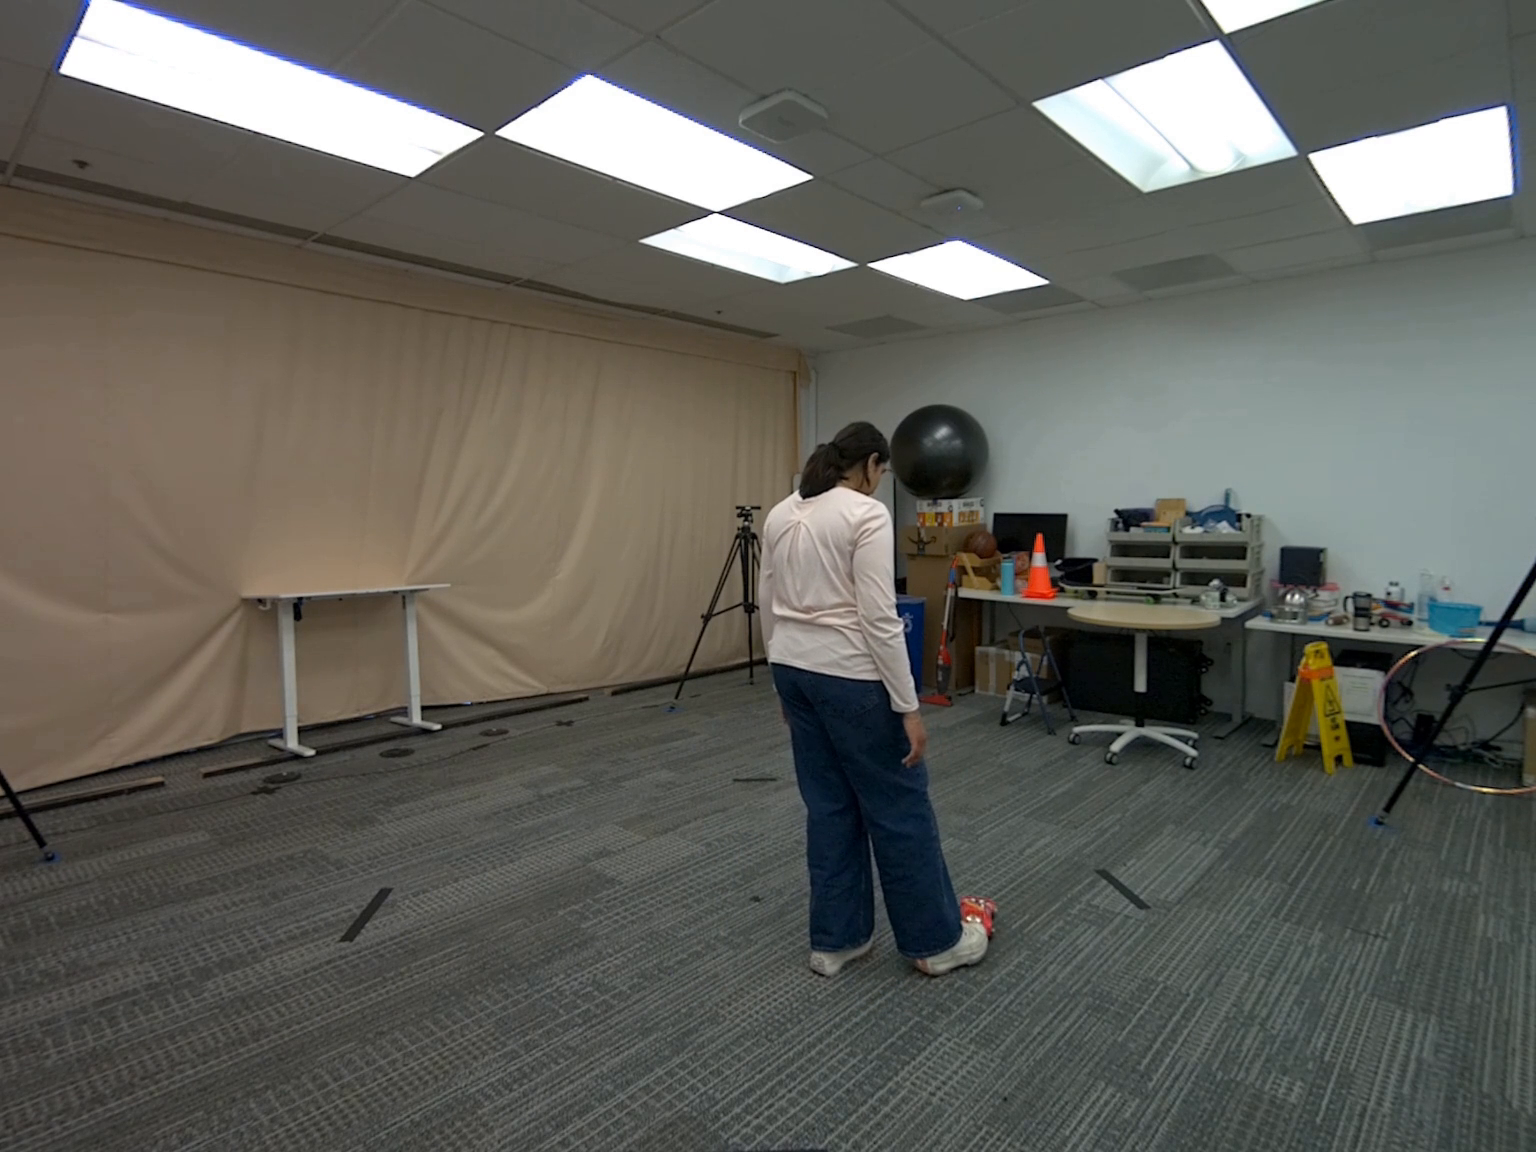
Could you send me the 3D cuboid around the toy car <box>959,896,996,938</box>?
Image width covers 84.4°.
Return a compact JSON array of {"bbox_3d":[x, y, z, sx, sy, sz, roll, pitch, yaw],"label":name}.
[{"bbox_3d":[0.688,1.128,2.772,0.133,0.083,0.248,2,-6,19],"label":"toy car"}]
